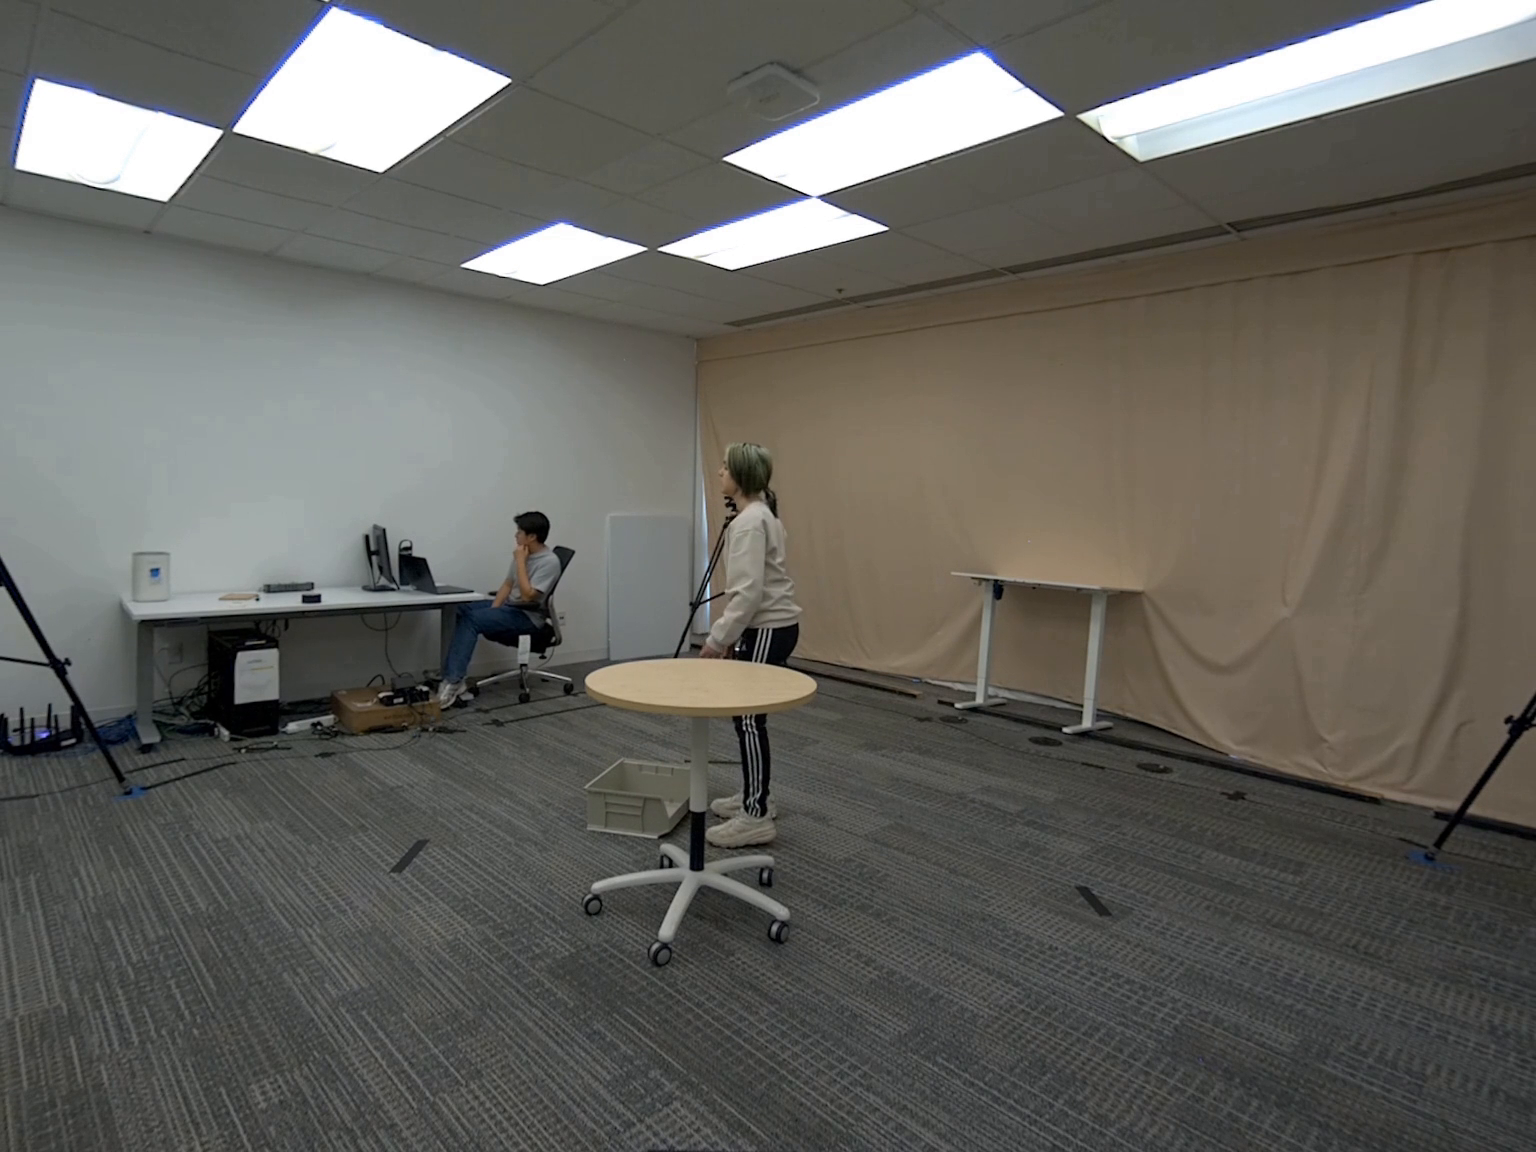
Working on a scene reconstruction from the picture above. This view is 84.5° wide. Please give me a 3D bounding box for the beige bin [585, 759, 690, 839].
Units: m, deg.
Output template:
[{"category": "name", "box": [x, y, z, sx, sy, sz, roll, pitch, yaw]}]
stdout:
[{"category": "beige bin", "box": [-0.547, 0.958, 3.645, 0.381, 0.188, 0.419, 3, 5, 12]}]
